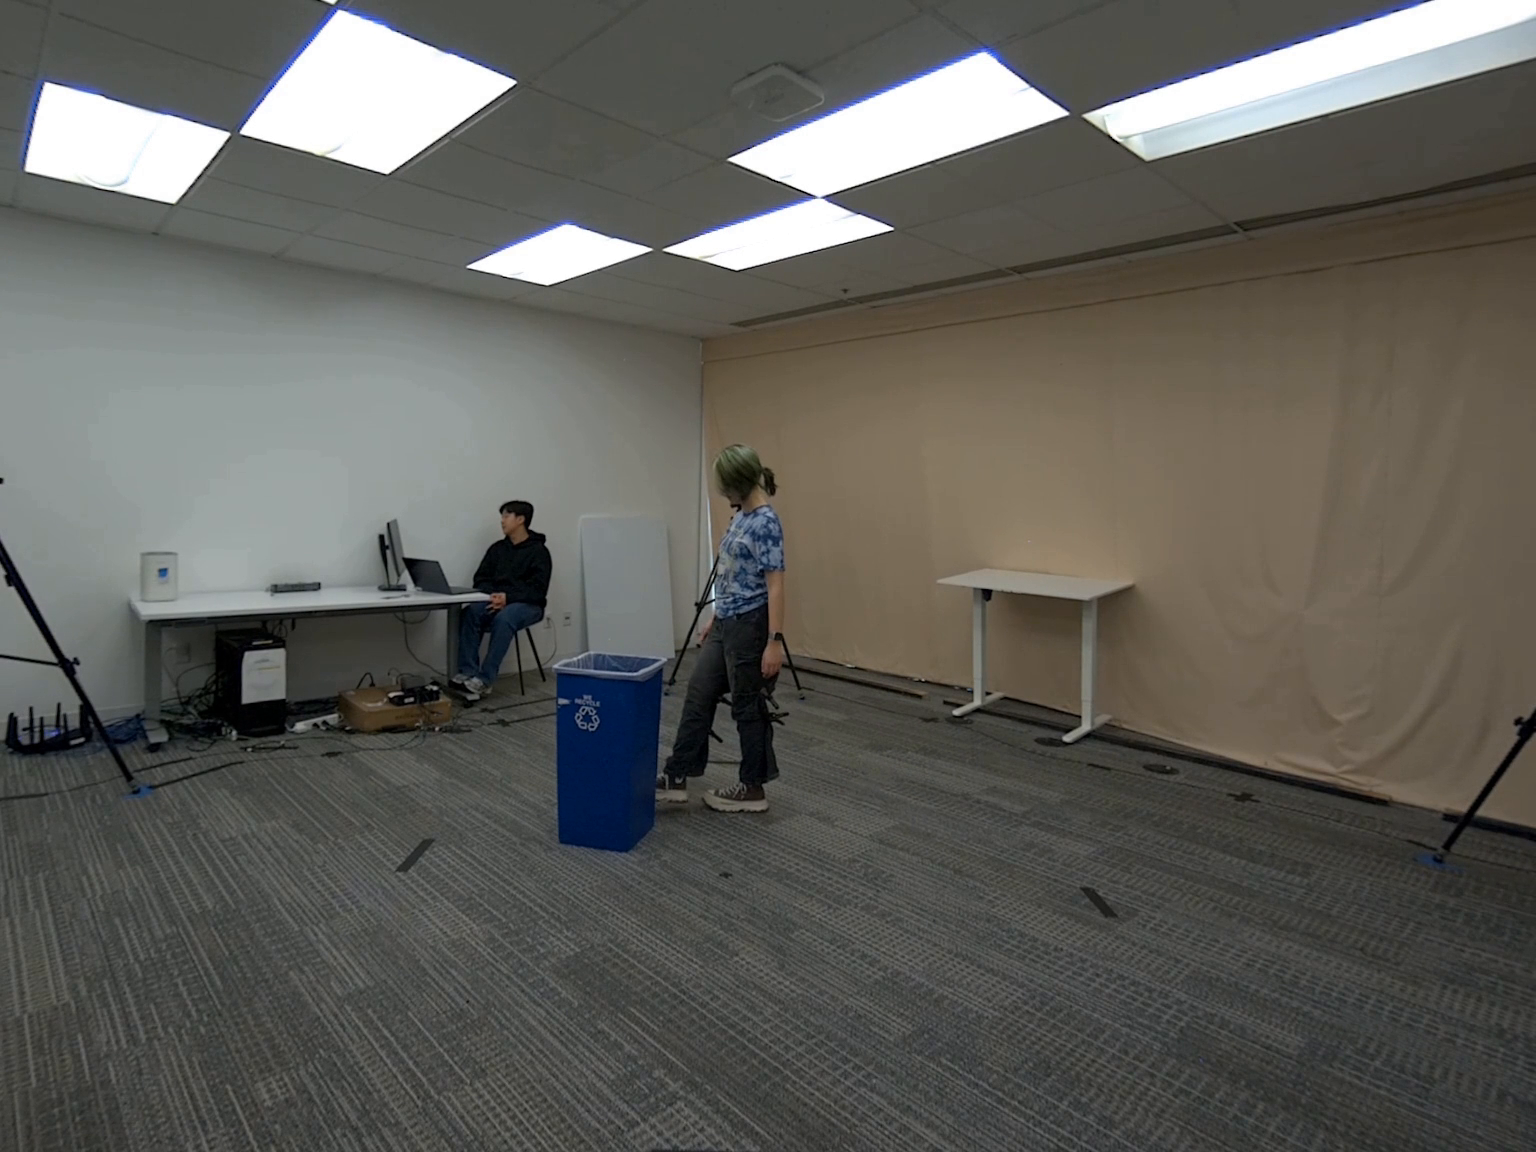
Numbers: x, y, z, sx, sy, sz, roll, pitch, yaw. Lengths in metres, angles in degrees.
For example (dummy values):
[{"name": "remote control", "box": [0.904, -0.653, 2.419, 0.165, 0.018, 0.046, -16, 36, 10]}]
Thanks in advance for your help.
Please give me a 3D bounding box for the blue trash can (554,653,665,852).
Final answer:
[{"name": "blue trash can", "box": [-0.654, 0.706, 3.439, 0.379, 0.712, 0.374, 2, 4, 15]}]
